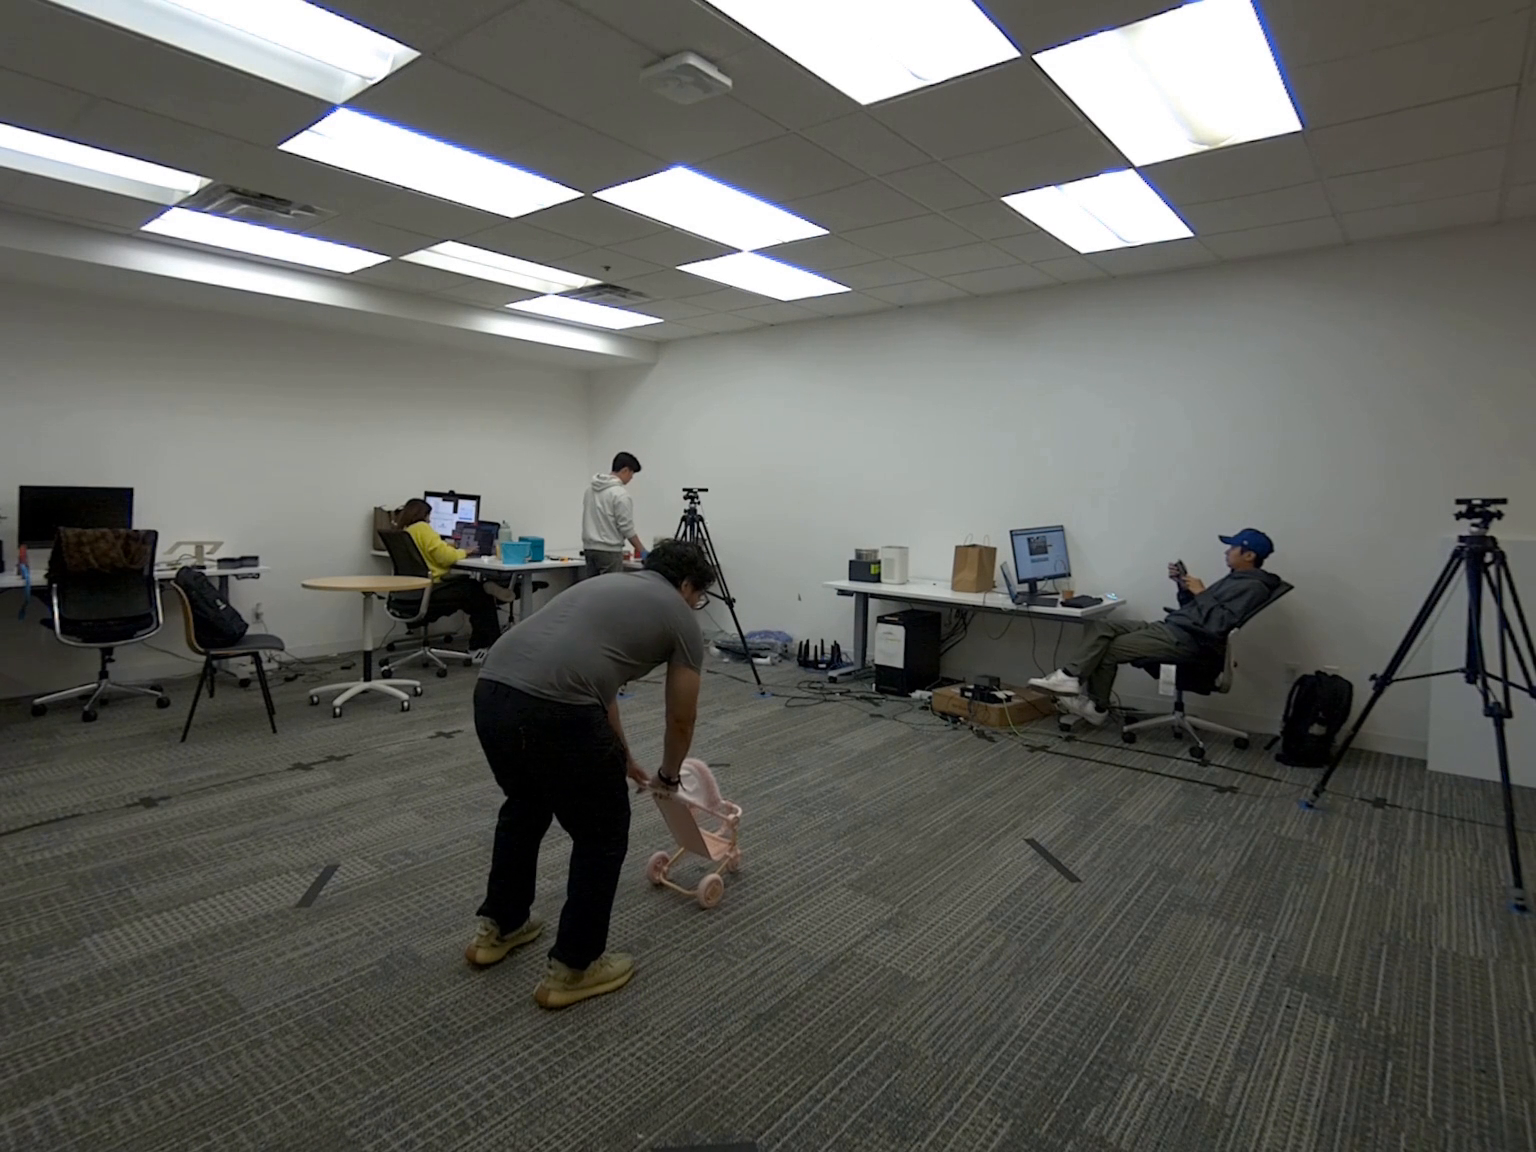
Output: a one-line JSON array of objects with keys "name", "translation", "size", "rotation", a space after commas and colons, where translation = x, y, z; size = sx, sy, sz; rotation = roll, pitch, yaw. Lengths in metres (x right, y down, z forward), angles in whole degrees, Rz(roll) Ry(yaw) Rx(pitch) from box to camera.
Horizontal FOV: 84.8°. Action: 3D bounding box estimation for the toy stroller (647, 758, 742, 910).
[{"name": "toy stroller", "translation": [-0.256, 0.859, 2.938], "size": [0.291, 0.526, 0.335], "rotation": [5, 22, 44]}]
